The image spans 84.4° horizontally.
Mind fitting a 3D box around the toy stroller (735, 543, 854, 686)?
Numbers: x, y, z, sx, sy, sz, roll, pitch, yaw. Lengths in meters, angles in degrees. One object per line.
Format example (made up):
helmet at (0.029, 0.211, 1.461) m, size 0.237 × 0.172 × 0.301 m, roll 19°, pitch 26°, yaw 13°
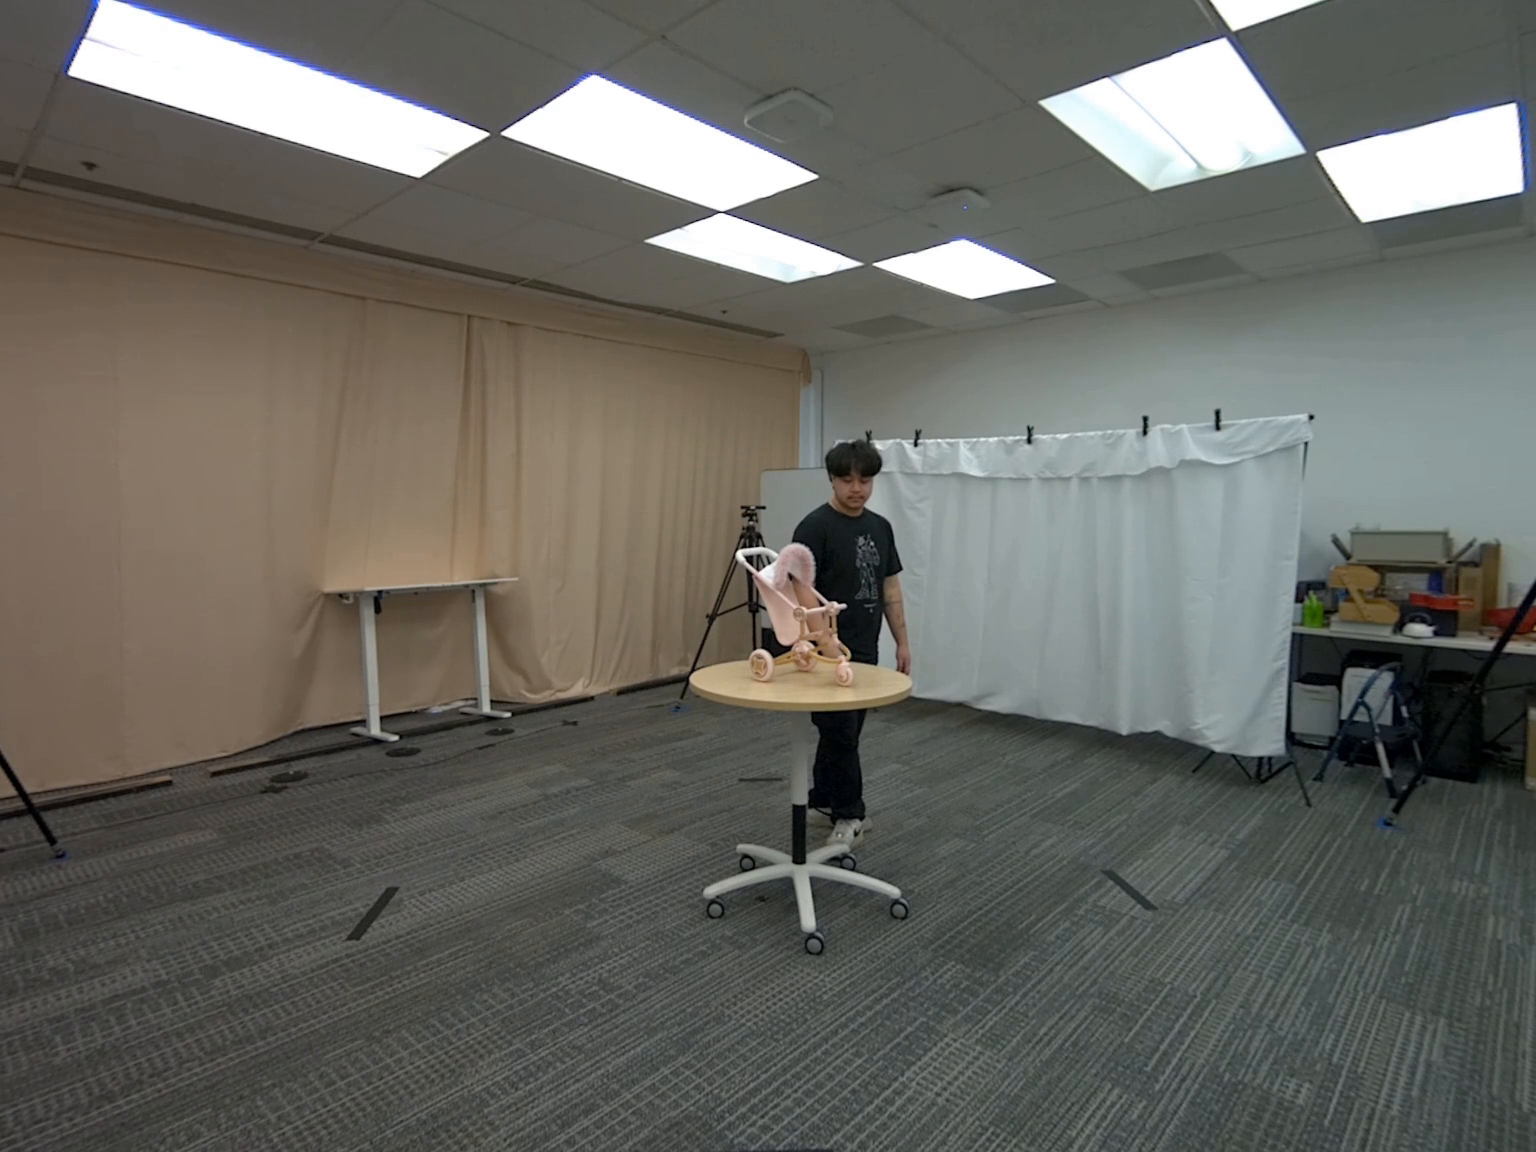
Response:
toy stroller at (0.109, 0.130, 2.896) m, size 0.273 × 0.538 × 0.350 m, roll -4°, pitch -10°, yaw -46°
